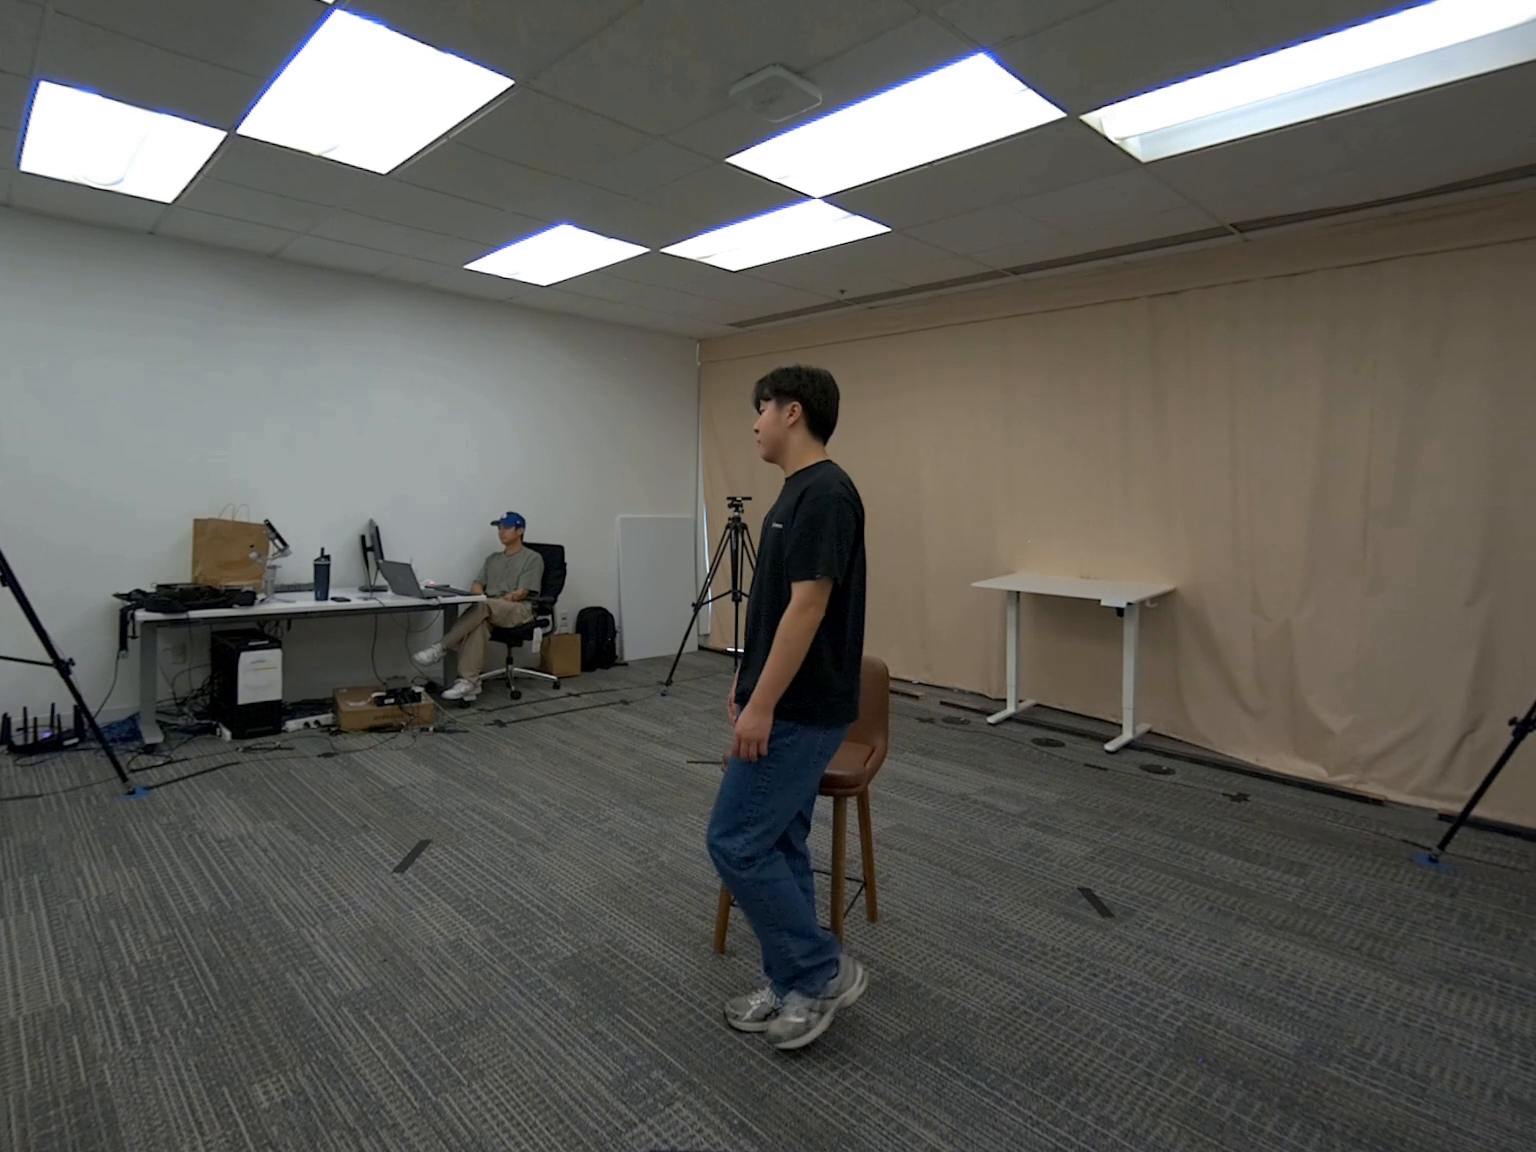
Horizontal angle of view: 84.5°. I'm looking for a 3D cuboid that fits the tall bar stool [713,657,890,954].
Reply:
[{"bbox_3d":[0.123,0.720,2.665,0.466,0.888,0.459,4,2,27],"label":"tall bar stool"}]
